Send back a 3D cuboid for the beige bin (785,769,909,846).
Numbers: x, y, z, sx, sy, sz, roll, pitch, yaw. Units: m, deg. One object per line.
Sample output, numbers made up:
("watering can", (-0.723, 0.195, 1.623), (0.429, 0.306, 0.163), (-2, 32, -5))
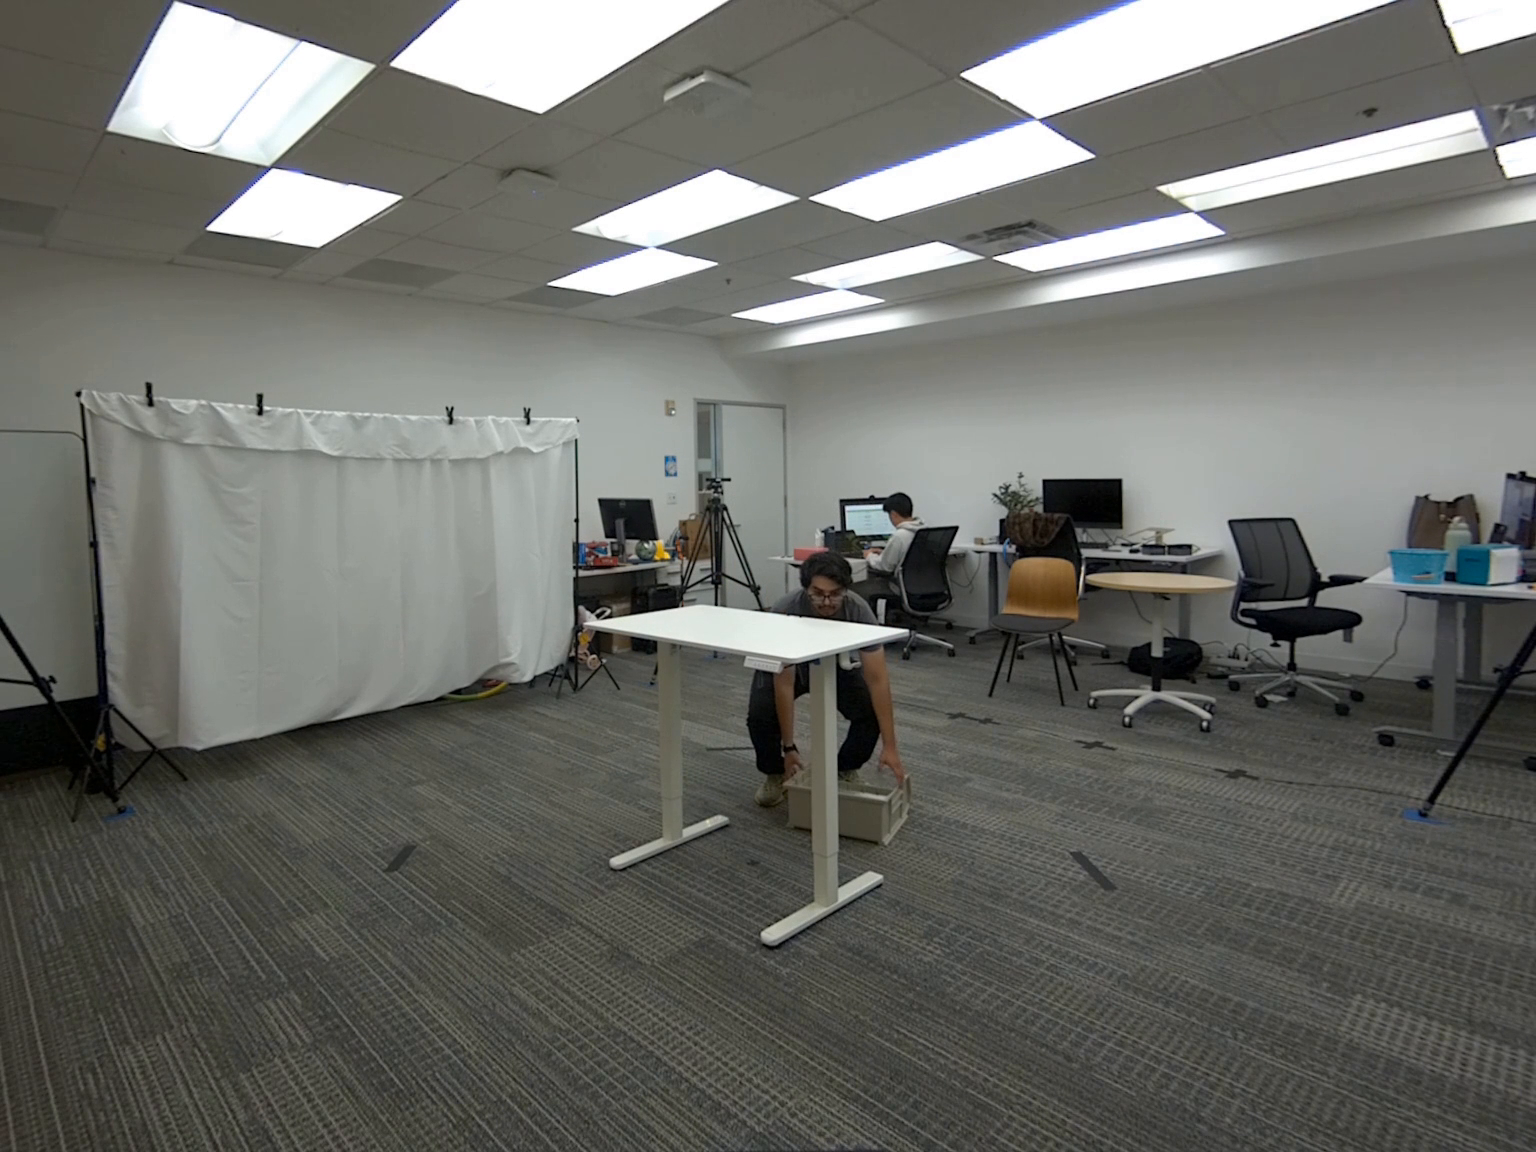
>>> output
("beige bin", (0.331, 0.910, 3.479), (0.432, 0.188, 0.370), (3, 8, 26))
